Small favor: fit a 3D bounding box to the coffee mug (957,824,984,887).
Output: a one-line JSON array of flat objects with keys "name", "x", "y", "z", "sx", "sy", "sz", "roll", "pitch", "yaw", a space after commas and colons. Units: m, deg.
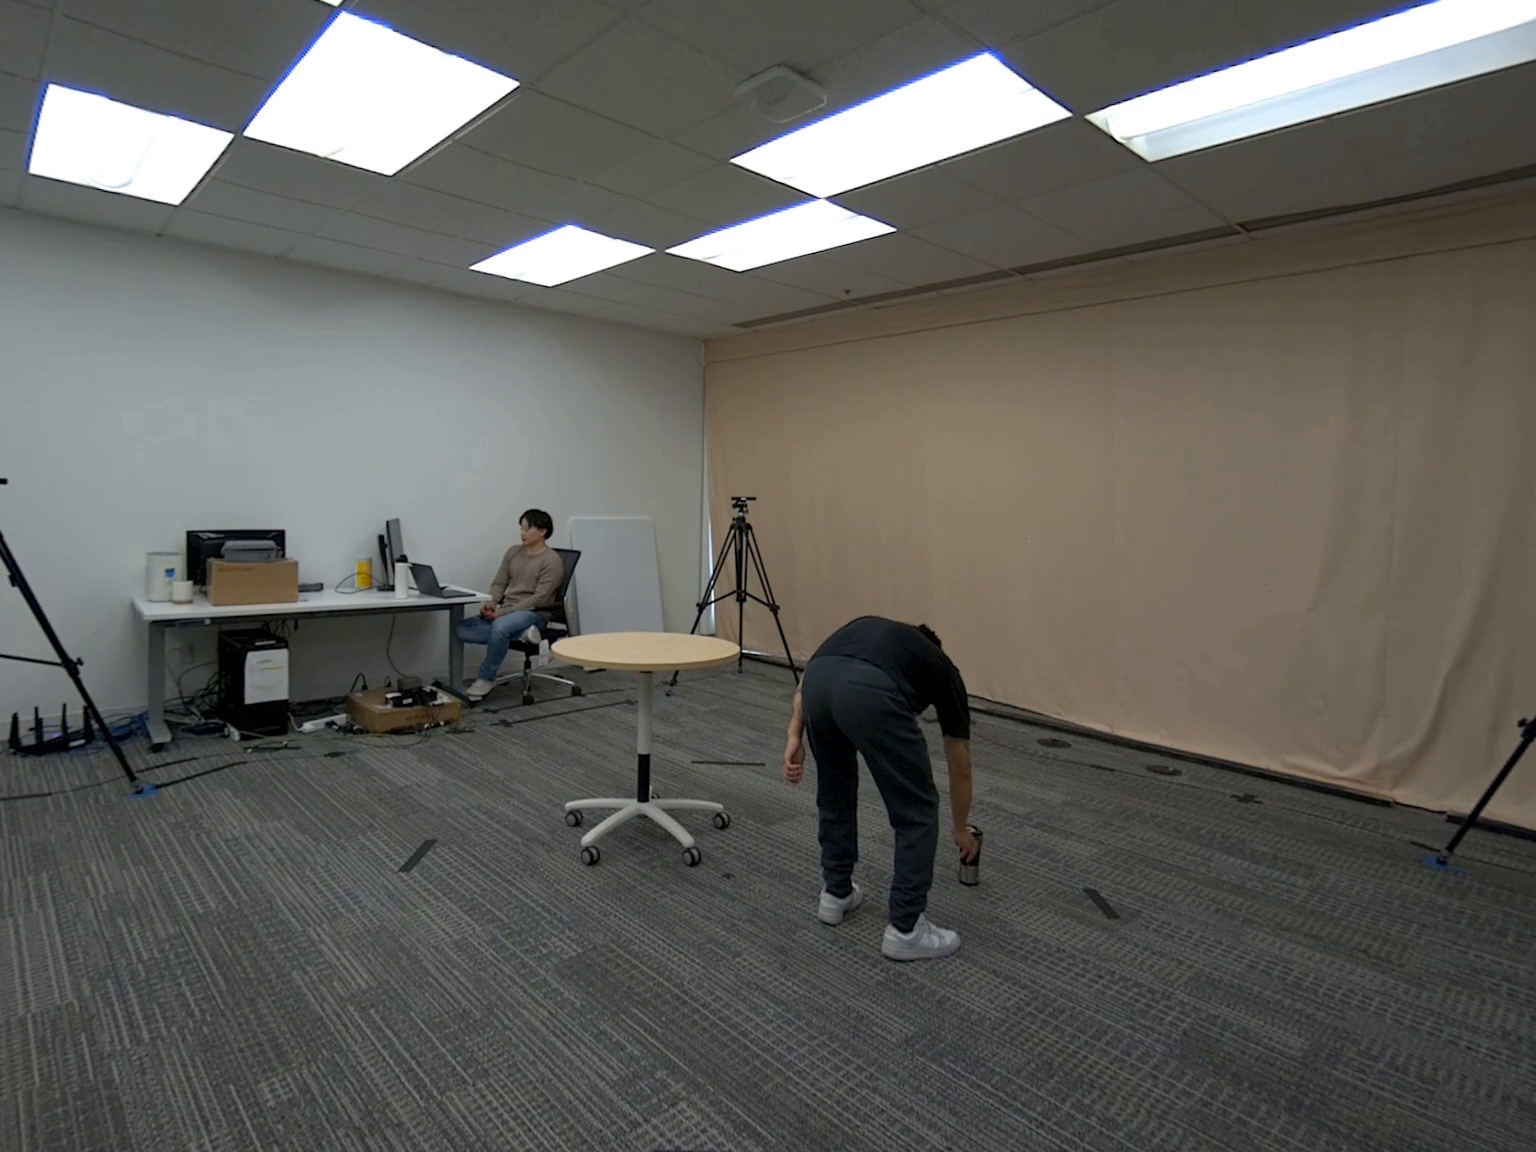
[{"name": "coffee mug", "x": 0.716, "y": 1.028, "z": 3.091, "sx": 0.119, "sy": 0.202, "sz": 0.090, "roll": 5, "pitch": 4, "yaw": -30}]
